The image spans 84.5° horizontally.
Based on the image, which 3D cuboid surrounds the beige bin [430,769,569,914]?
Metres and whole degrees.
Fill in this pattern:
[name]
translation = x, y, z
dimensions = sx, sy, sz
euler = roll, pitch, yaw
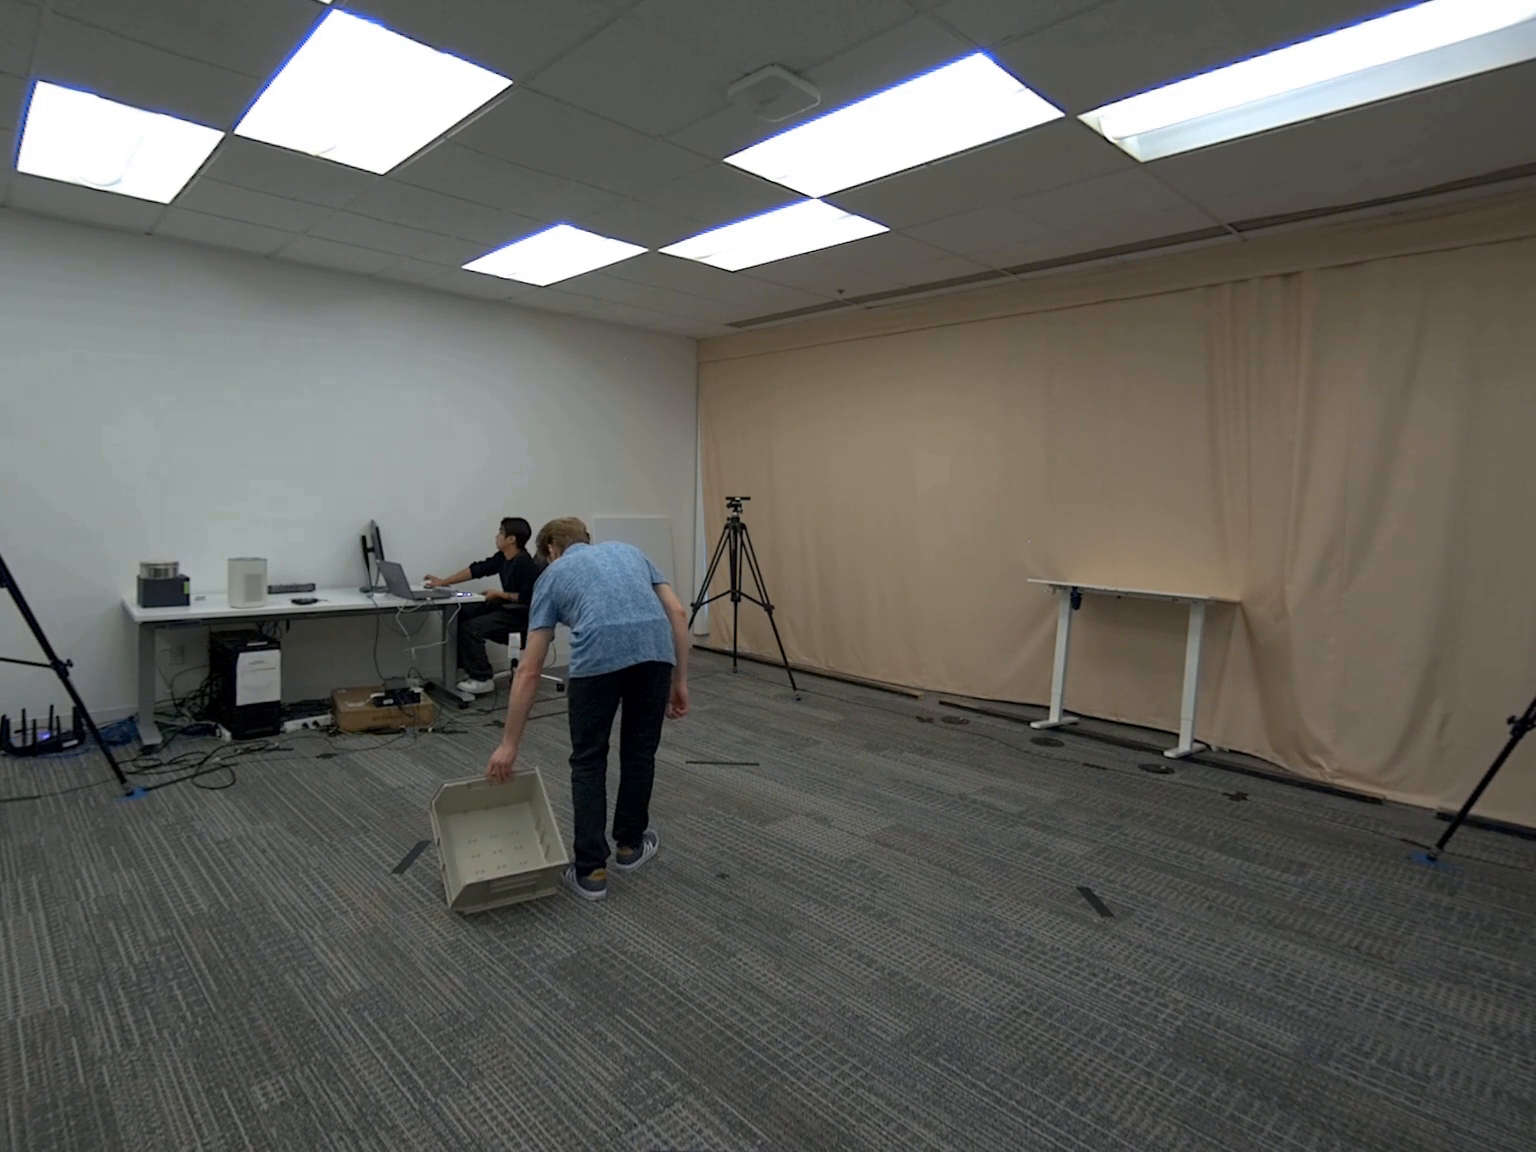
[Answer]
[beige bin]
translation = -0.959, 0.920, 2.936
dimensions = 0.369, 0.187, 0.436
euler = -2, 36, -32
